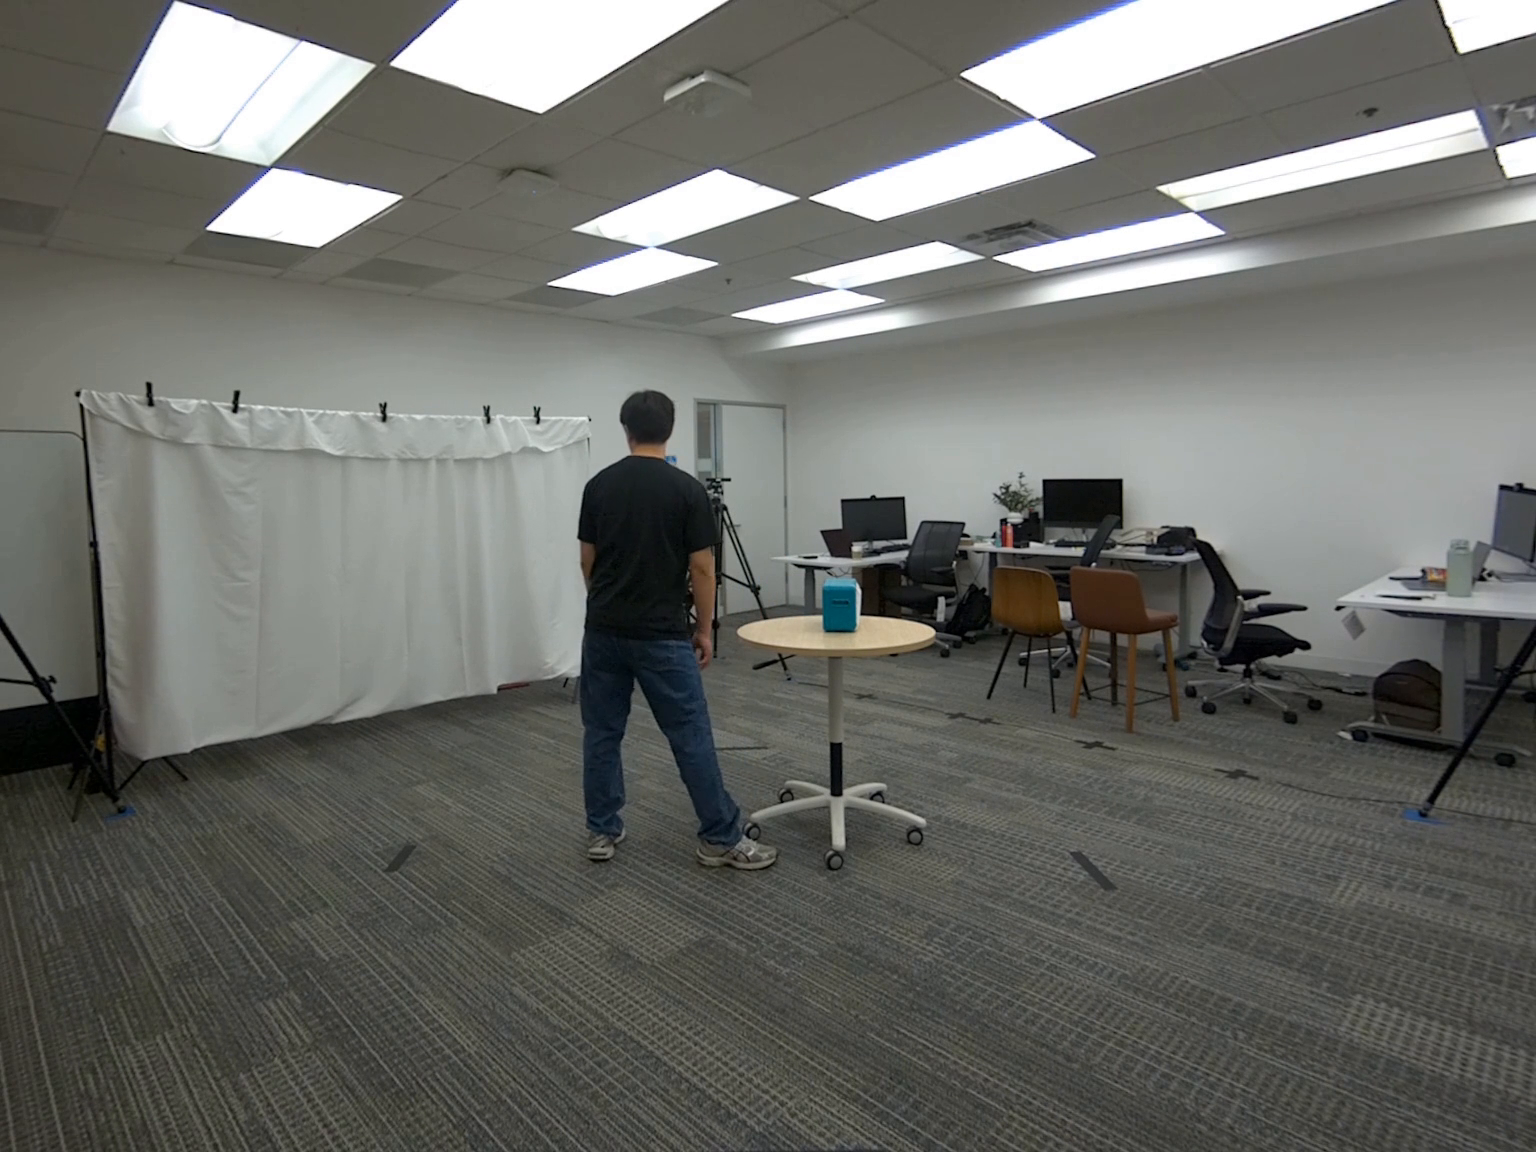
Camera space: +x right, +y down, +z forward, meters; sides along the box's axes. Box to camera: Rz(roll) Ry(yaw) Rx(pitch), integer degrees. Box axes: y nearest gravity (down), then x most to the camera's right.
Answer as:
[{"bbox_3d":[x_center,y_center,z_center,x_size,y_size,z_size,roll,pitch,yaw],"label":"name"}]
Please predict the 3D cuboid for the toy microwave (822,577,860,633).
[{"bbox_3d":[0.302,0.109,3.414,0.153,0.183,0.286,1,6,5],"label":"toy microwave"}]
